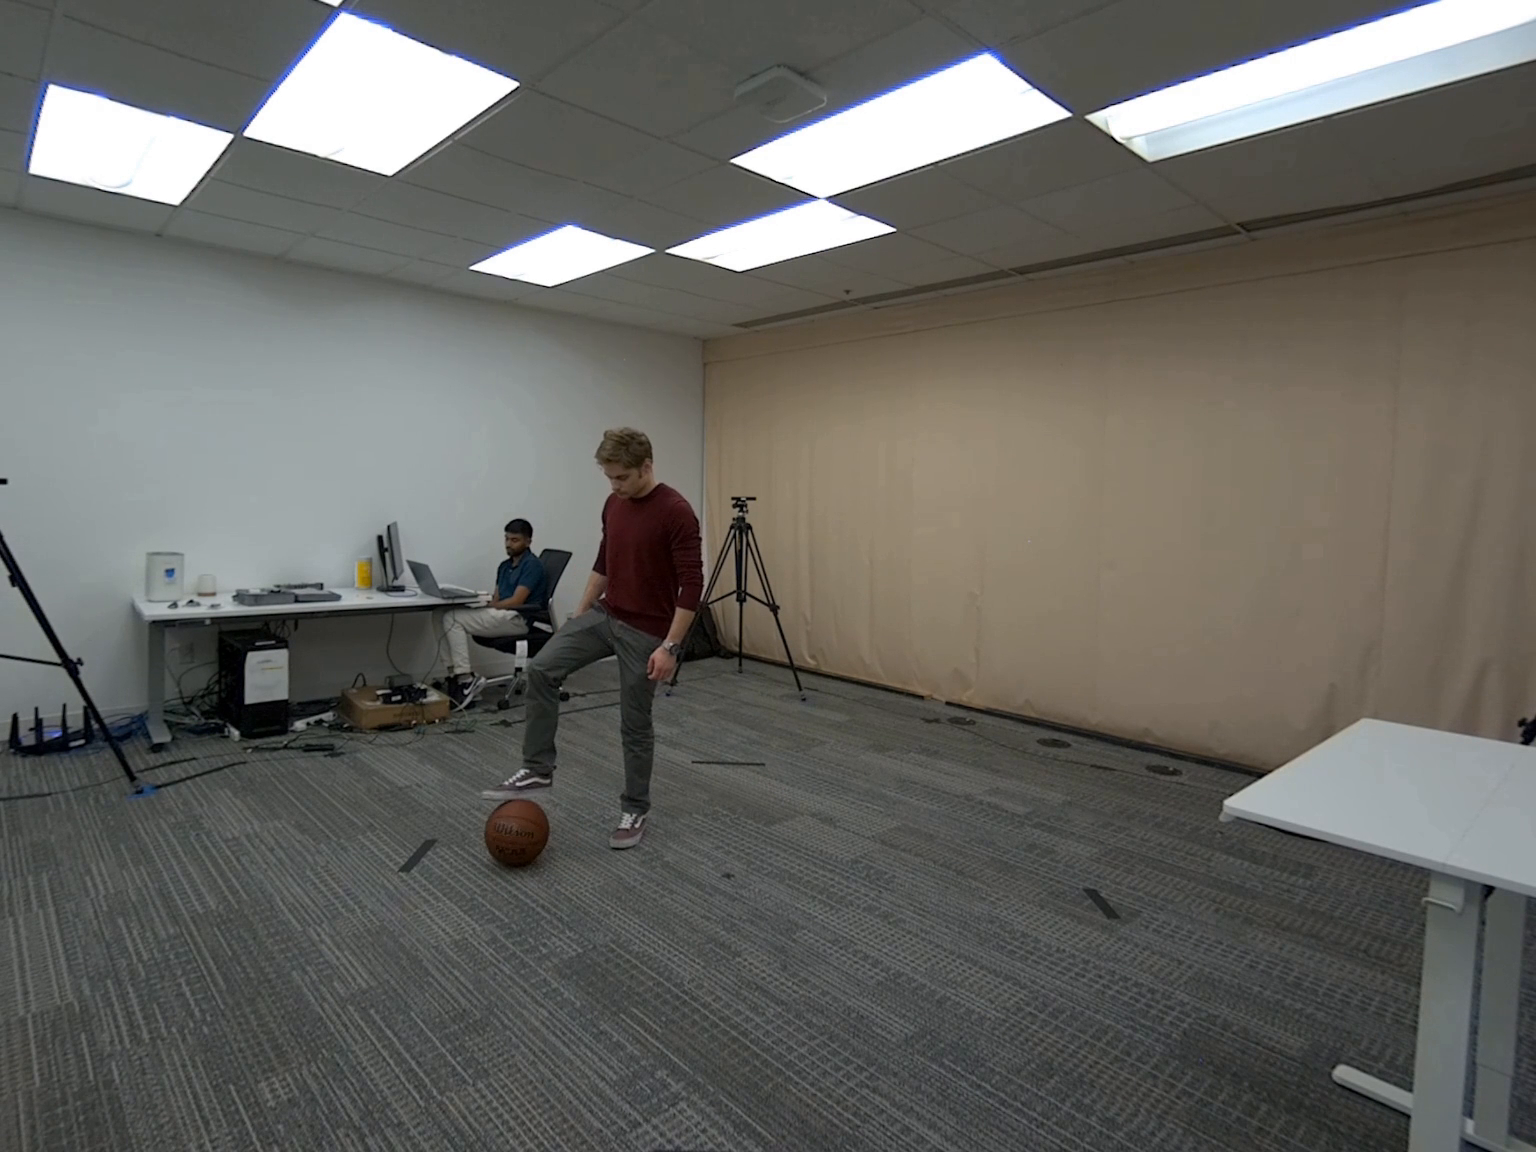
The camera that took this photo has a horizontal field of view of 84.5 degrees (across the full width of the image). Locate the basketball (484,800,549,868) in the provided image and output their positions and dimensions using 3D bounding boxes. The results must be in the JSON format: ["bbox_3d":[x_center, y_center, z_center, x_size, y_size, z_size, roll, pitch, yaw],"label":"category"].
[{"bbox_3d":[-0.951,0.963,3.167,0.236,0.235,0.237,1,4,-1],"label":"basketball"}]
